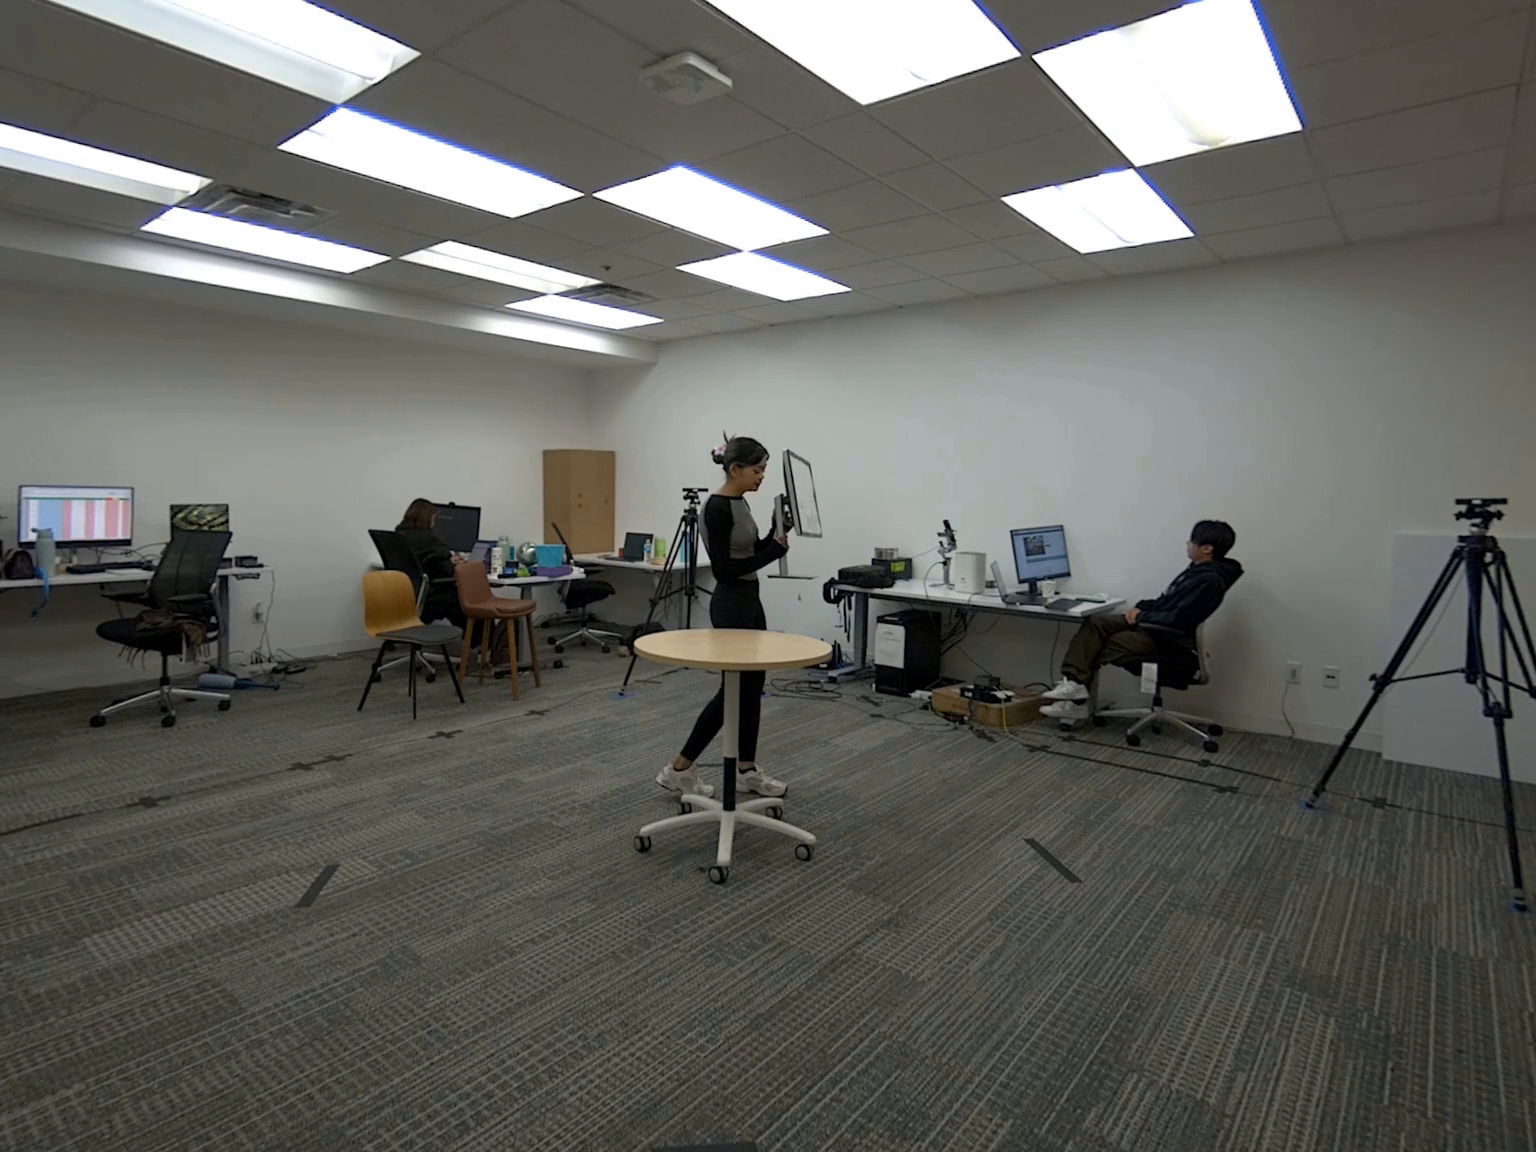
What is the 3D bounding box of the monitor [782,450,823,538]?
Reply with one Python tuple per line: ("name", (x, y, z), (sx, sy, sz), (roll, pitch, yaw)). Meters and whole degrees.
("monitor", (0.111, -0.264, 3.785), (0.190, 0.523, 0.531), (2, 0, 11))
